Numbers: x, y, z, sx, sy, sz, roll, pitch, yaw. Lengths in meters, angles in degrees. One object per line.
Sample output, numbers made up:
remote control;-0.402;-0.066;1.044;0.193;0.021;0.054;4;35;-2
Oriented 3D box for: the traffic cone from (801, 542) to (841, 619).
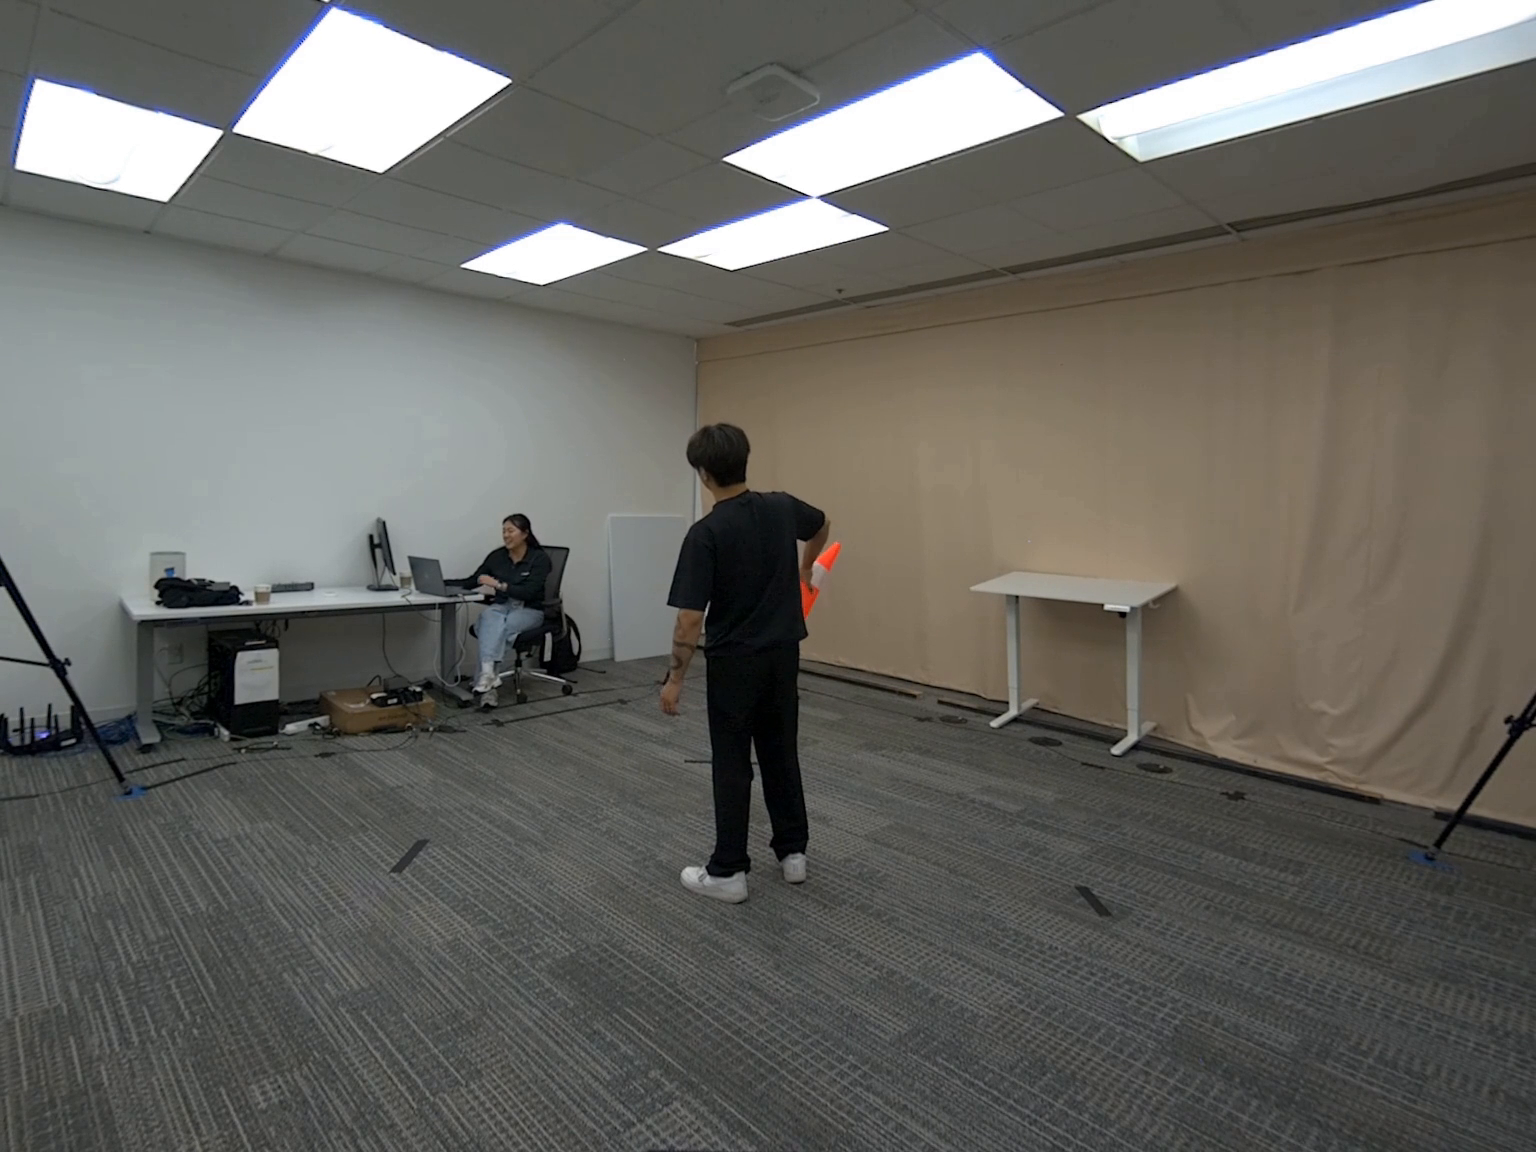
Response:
traffic cone;0.172;0.018;3.481;0.210;0.384;0.198;33;-11;24
